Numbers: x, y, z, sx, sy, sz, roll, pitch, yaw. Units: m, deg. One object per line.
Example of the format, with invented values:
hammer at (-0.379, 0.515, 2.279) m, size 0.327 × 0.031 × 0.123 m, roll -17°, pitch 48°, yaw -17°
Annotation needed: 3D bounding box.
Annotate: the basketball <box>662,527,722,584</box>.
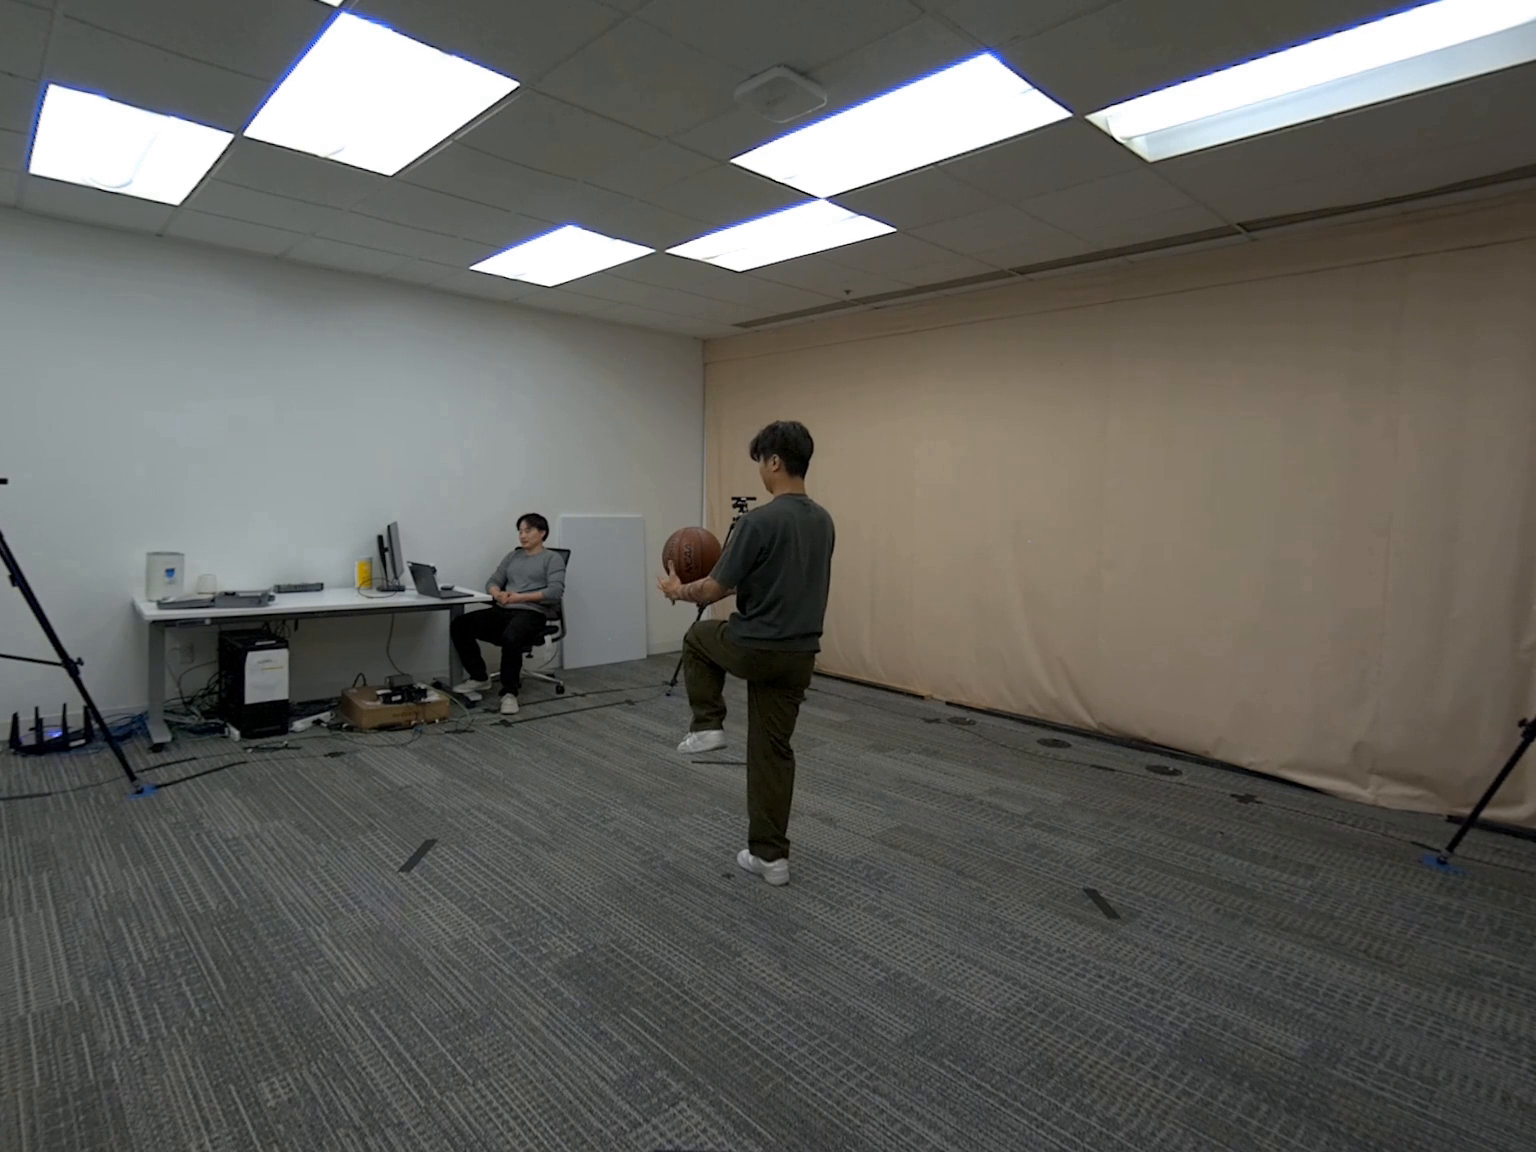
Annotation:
basketball at (-0.301, -0.057, 3.299) m, size 0.236 × 0.235 × 0.237 m, roll 1°, pitch 4°, yaw -1°
